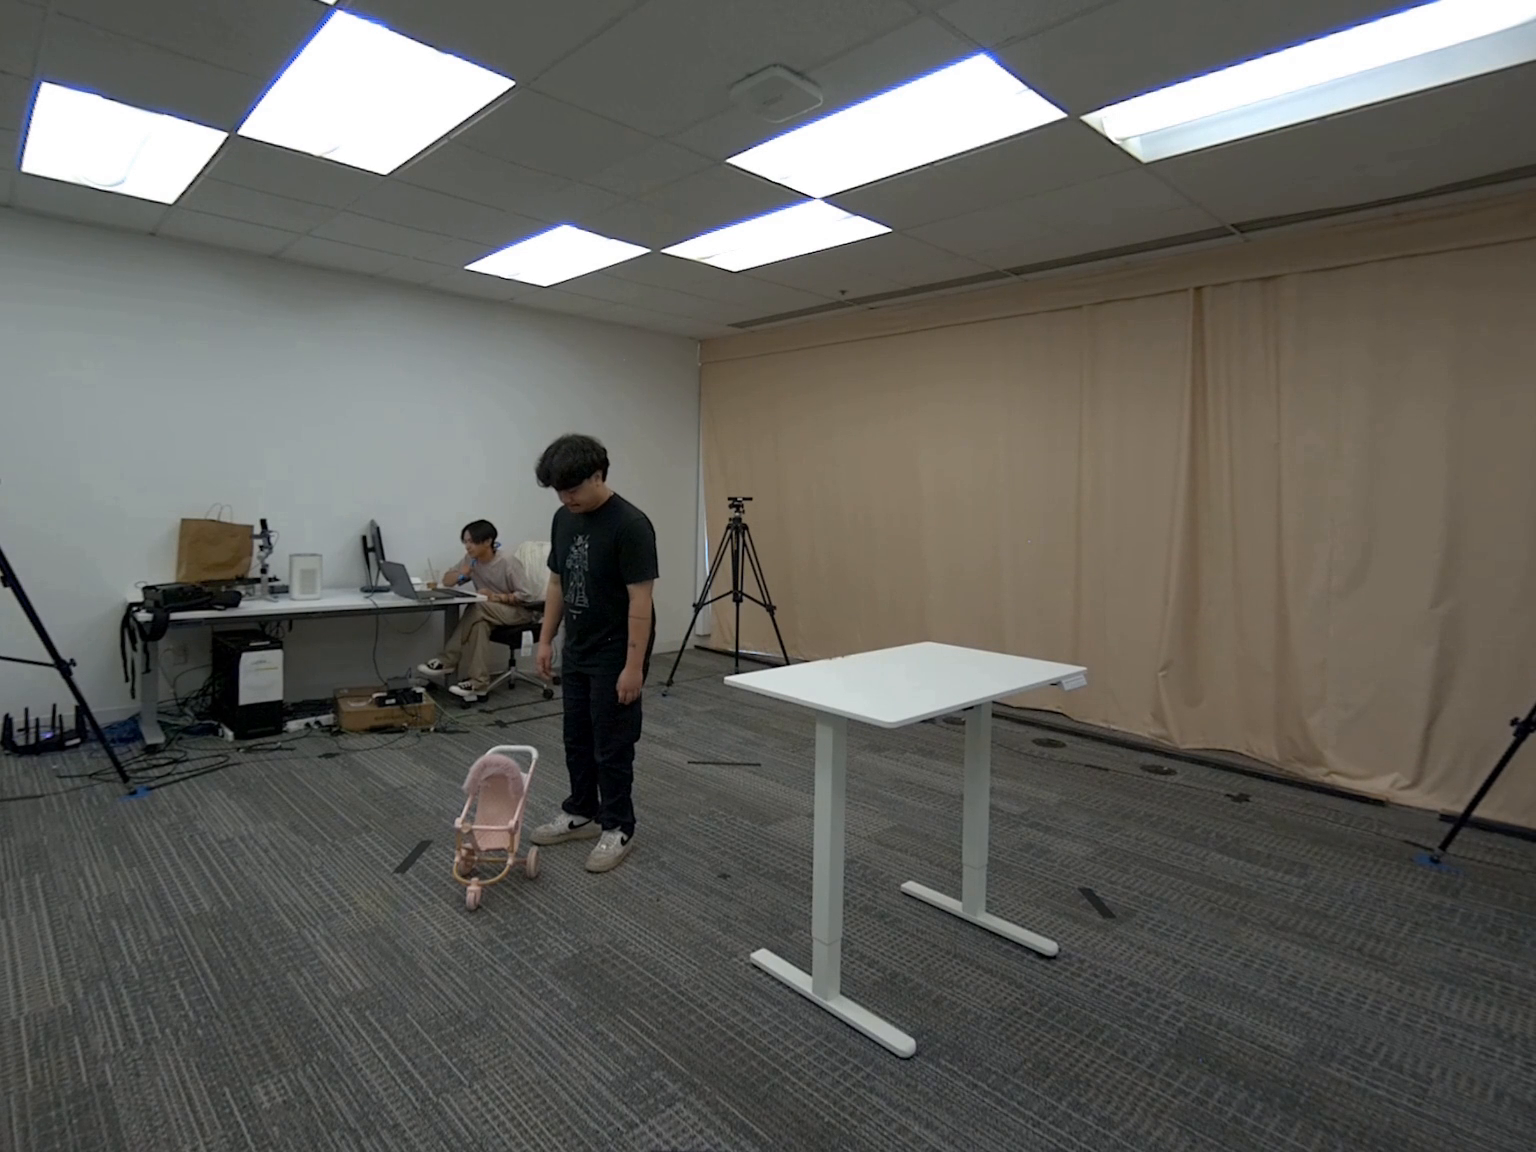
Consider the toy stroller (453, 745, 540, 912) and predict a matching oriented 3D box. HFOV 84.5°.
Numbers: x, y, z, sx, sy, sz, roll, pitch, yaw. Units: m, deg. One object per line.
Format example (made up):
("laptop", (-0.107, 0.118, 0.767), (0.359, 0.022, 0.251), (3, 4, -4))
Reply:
("toy stroller", (-0.996, 0.881, 2.993), (0.283, 0.539, 0.336), (0, -11, 6))
